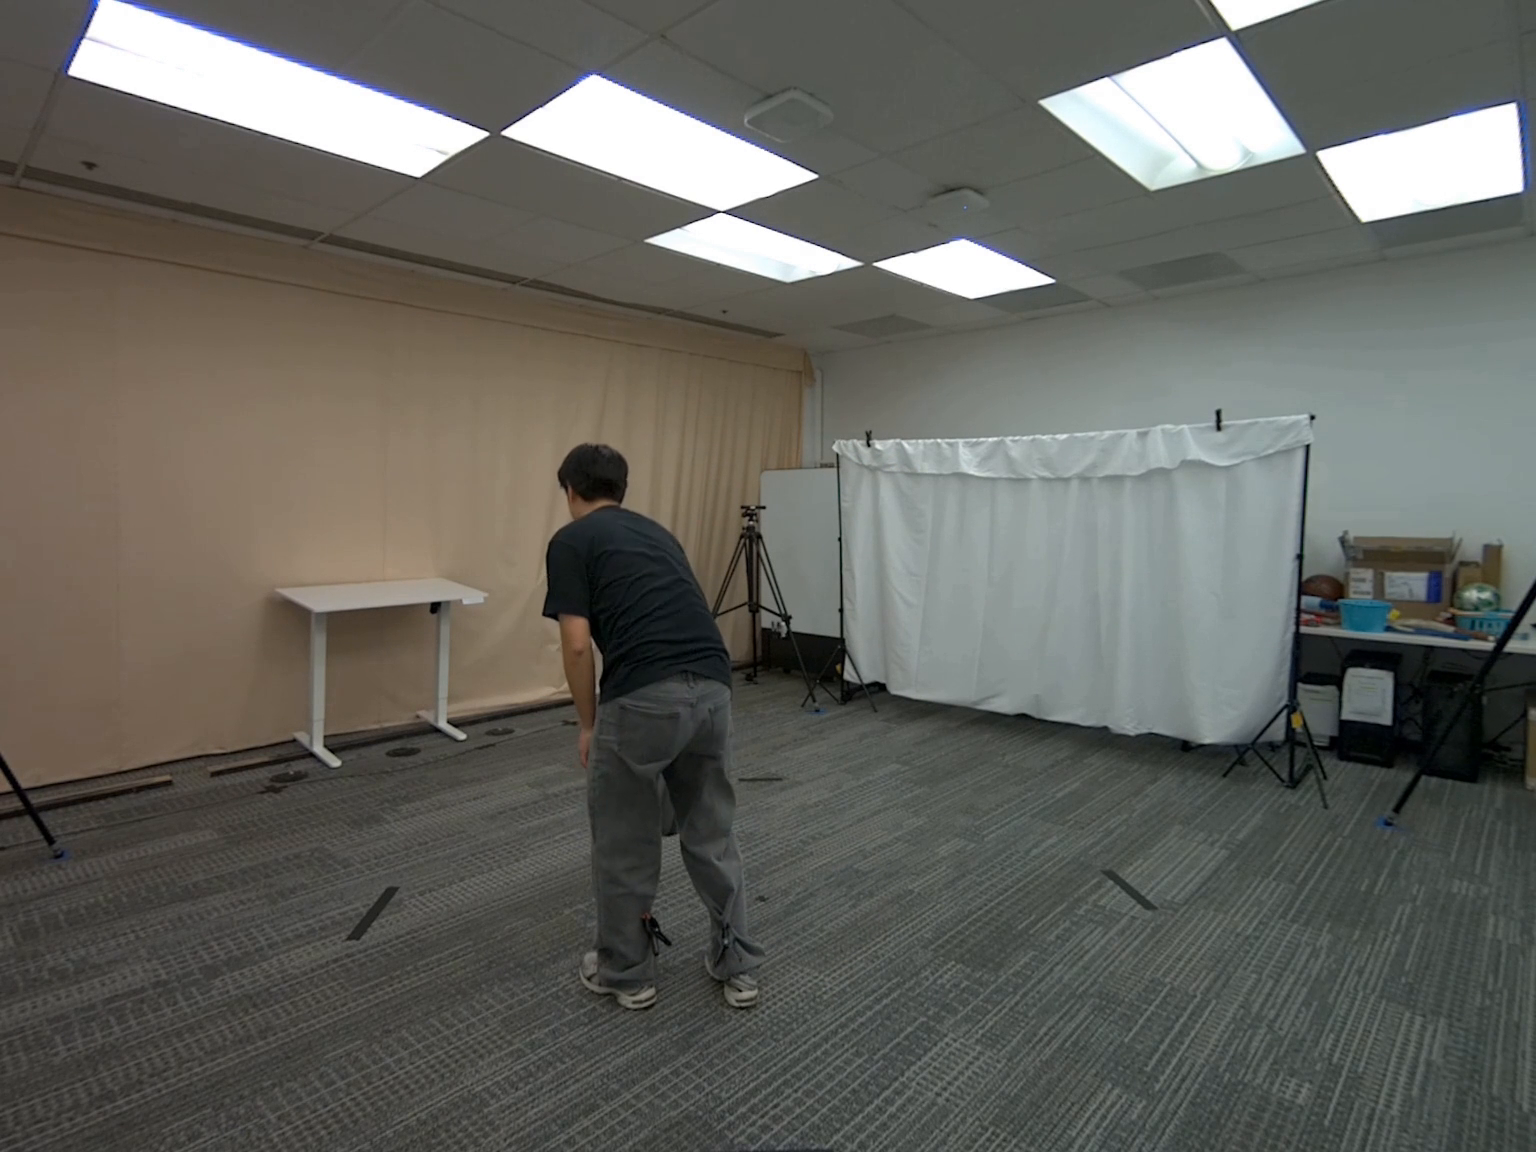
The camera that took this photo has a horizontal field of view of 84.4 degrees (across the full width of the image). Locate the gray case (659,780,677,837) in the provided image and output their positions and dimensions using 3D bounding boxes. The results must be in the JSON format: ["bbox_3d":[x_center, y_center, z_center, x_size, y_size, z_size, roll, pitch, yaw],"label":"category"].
[{"bbox_3d":[-0.351,0.665,2.678,0.271,0.289,0.099,-4,-19,45],"label":"gray case"}]
